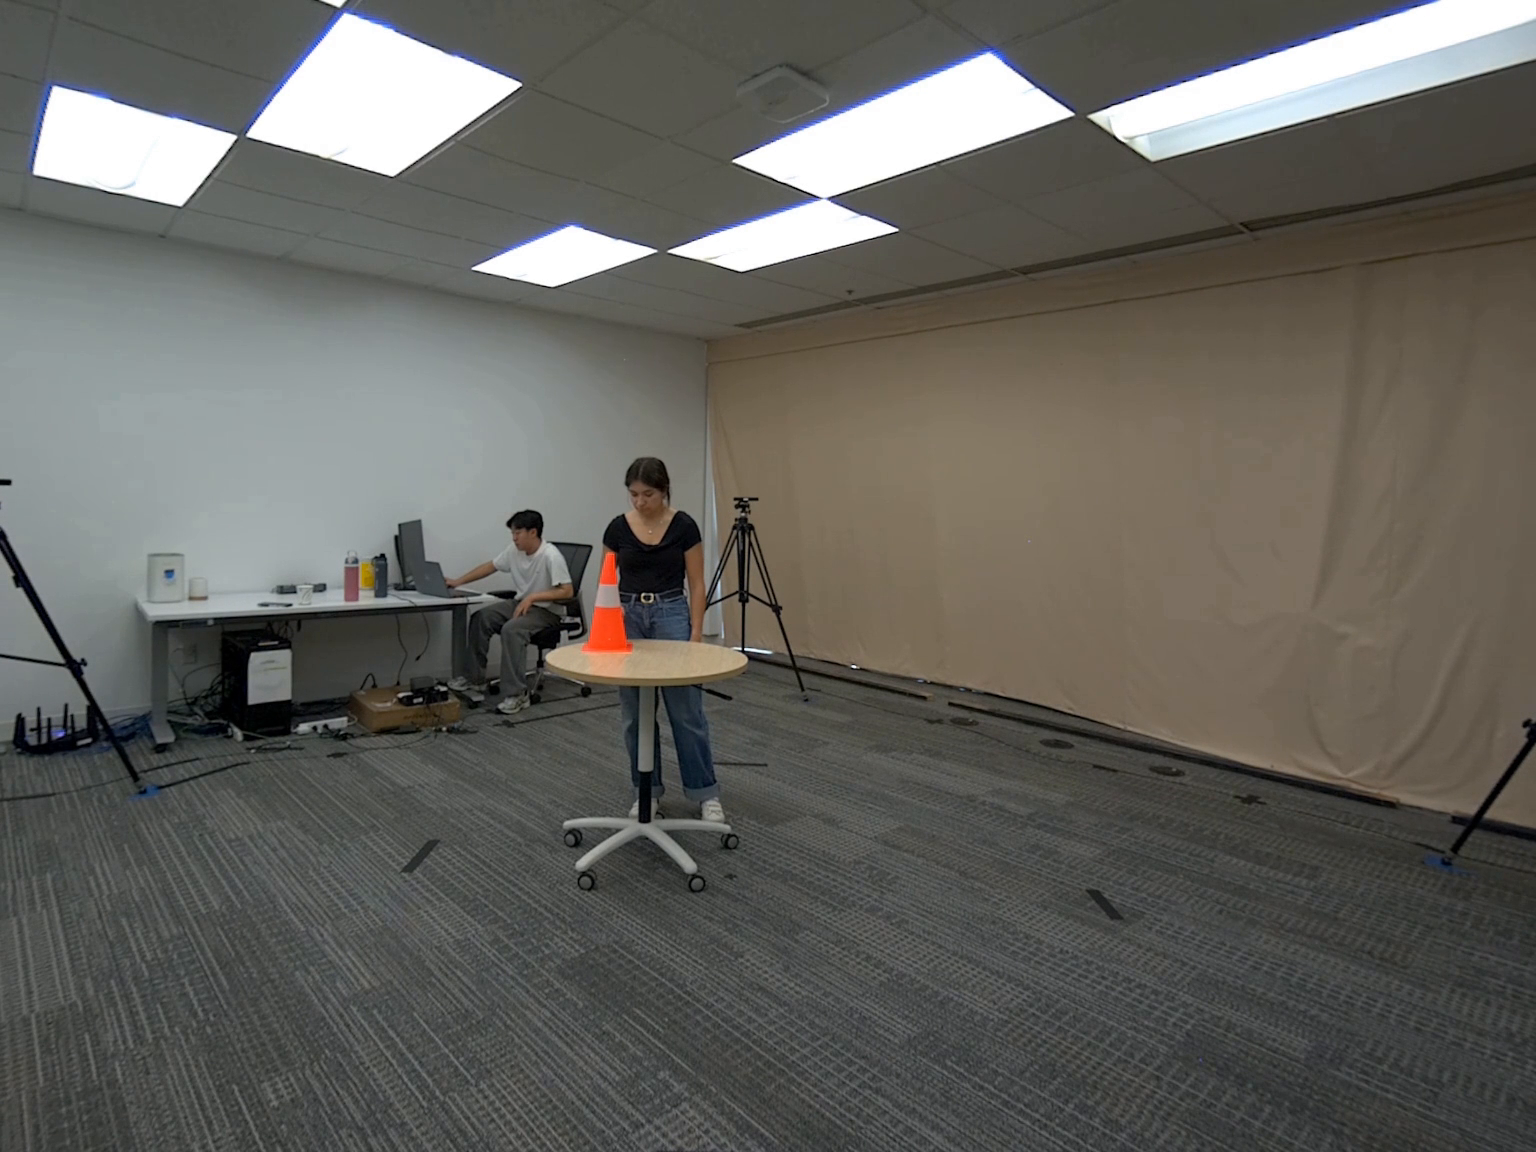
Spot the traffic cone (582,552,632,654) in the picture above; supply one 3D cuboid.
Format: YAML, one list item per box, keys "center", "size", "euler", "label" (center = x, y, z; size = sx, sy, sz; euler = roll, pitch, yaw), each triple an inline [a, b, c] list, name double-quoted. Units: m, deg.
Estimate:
- center: [-0.660, 0.104, 3.379]
  size: [0.202, 0.384, 0.206]
  euler: [4, 0, -8]
  label: "traffic cone"
